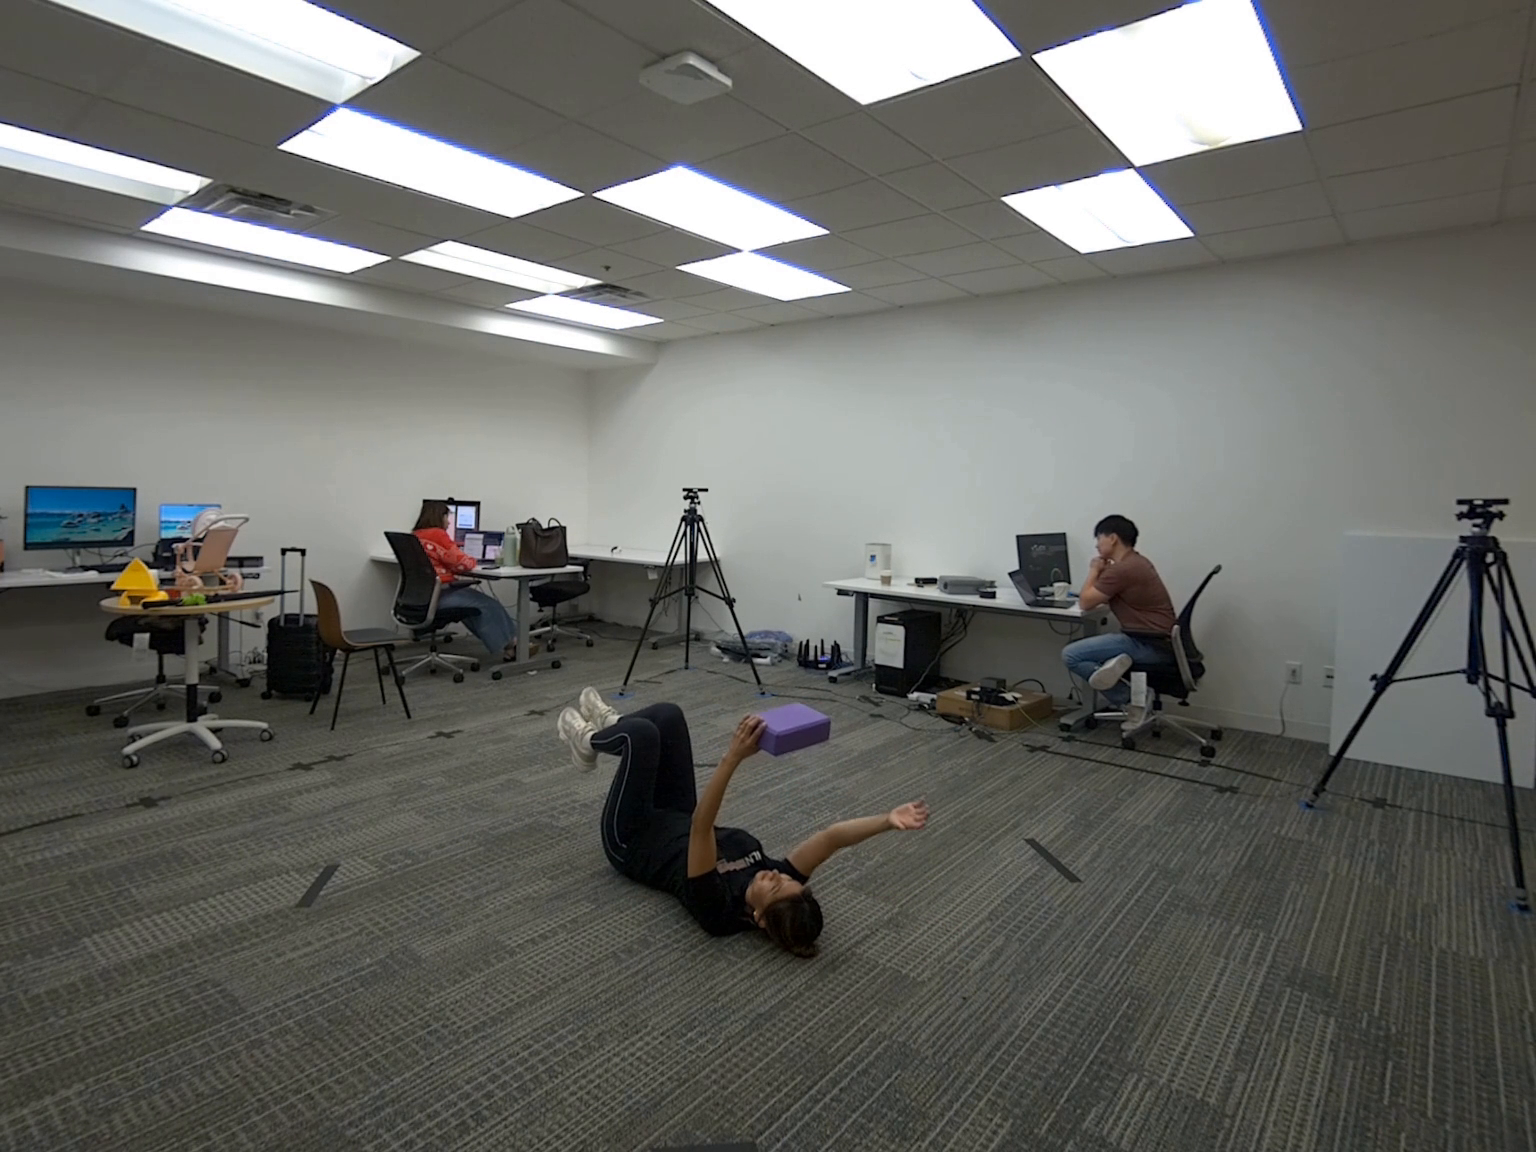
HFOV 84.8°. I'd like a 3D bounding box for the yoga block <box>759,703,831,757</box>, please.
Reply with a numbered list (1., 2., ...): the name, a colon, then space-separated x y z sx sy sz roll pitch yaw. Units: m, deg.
1. yoga block: 0.057 0.453 2.515 0.223 0.075 0.155 -6 16 -39
